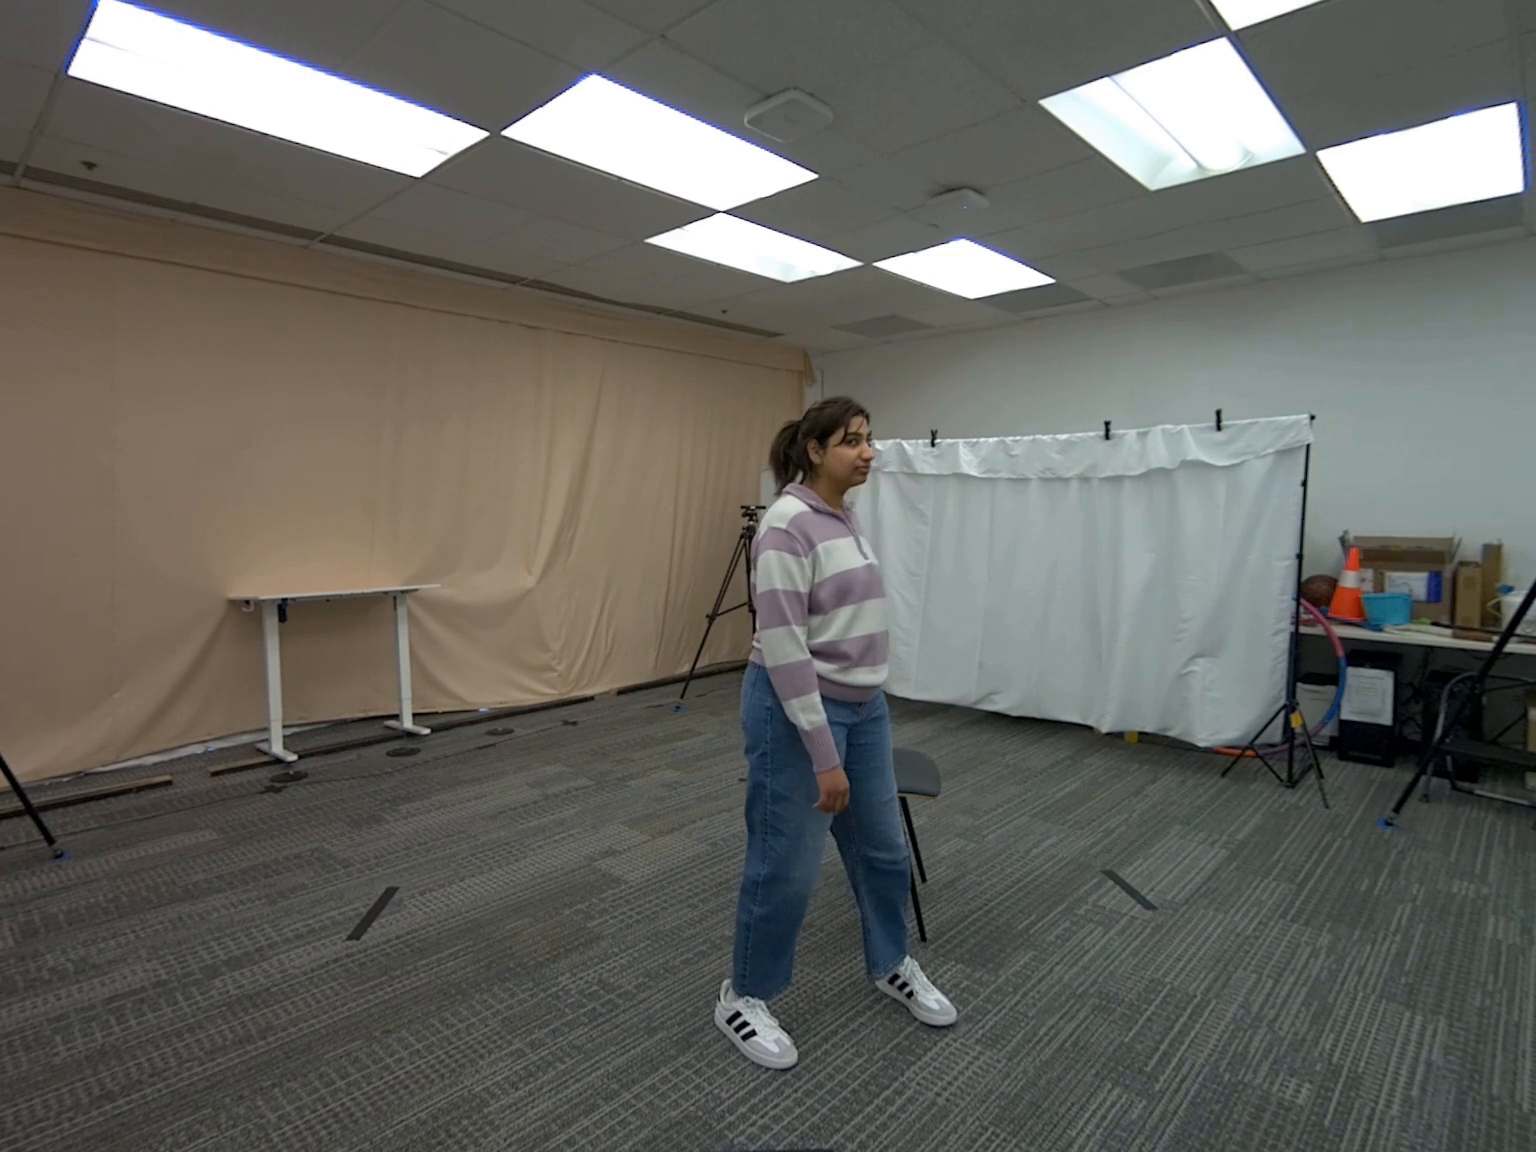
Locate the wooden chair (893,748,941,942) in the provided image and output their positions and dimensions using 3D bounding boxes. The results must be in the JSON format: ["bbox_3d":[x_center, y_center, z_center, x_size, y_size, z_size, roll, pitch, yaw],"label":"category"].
[{"bbox_3d":[0.336,0.722,2.918,0.531,0.876,0.472,-3,3,13],"label":"wooden chair"}]
